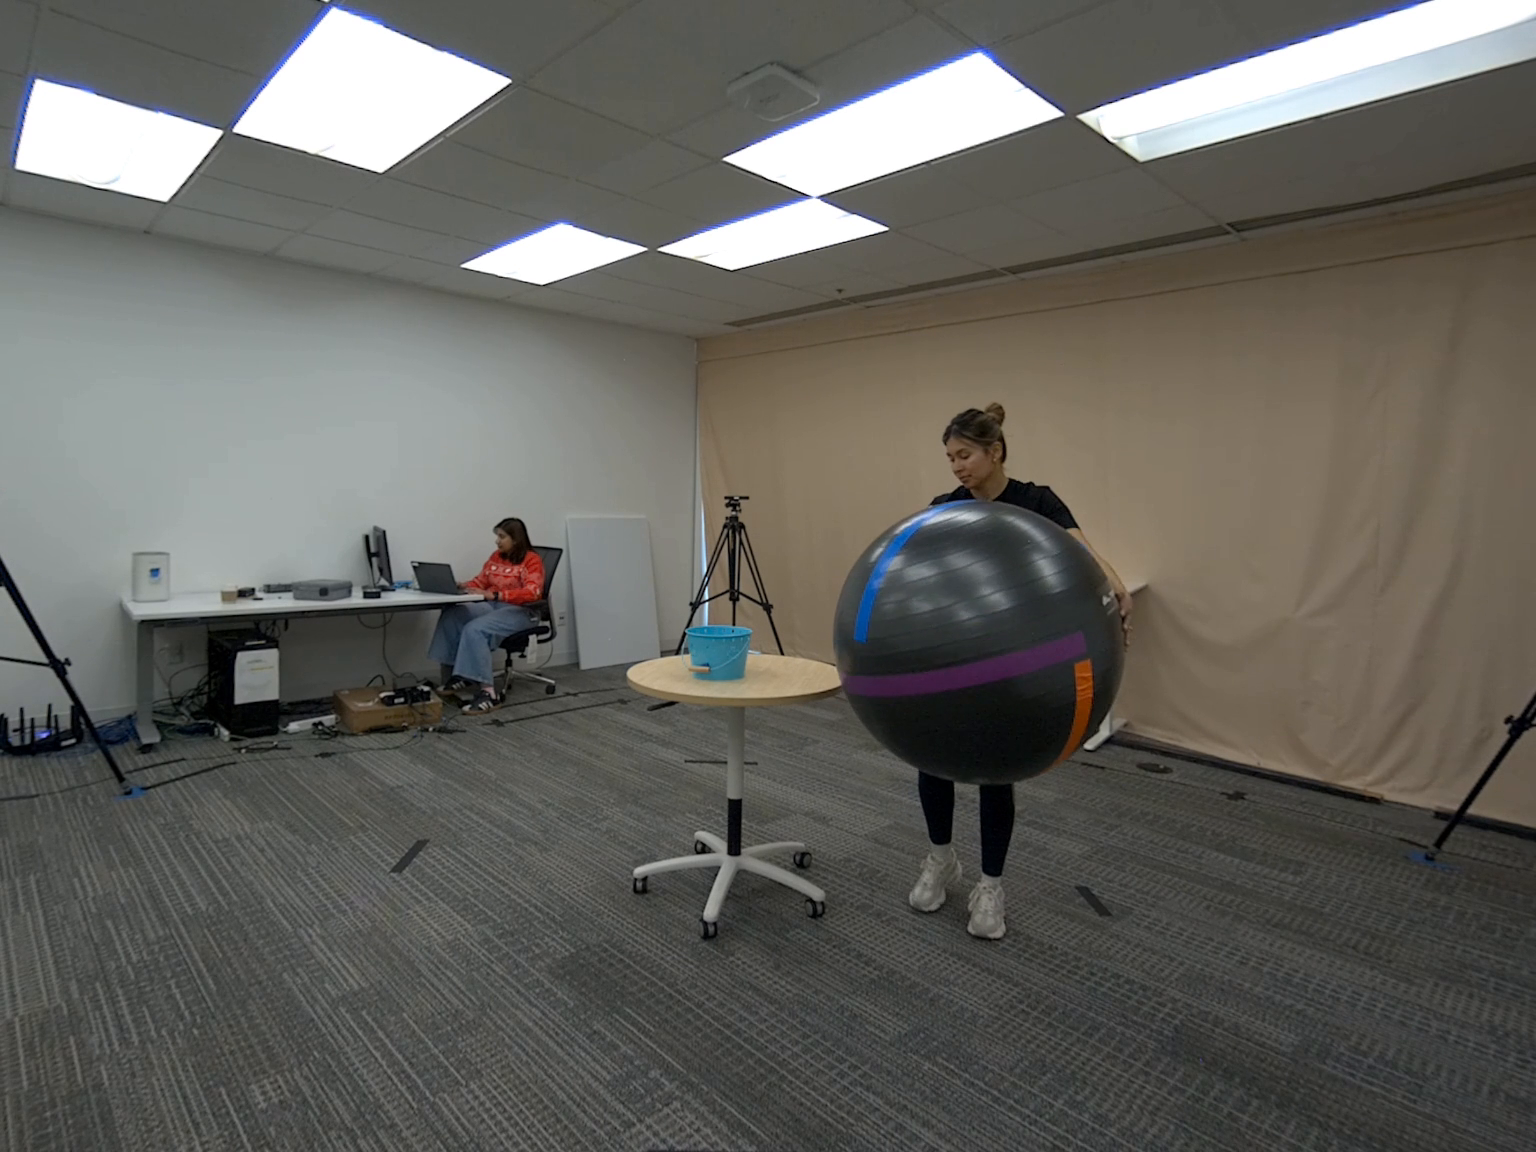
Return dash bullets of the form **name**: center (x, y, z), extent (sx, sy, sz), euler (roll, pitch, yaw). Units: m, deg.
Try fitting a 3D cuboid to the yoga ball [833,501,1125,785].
- **yoga ball**: center (0.560, 0.184, 2.270), extent (0.757, 0.756, 0.761), euler (1, 4, -1)
